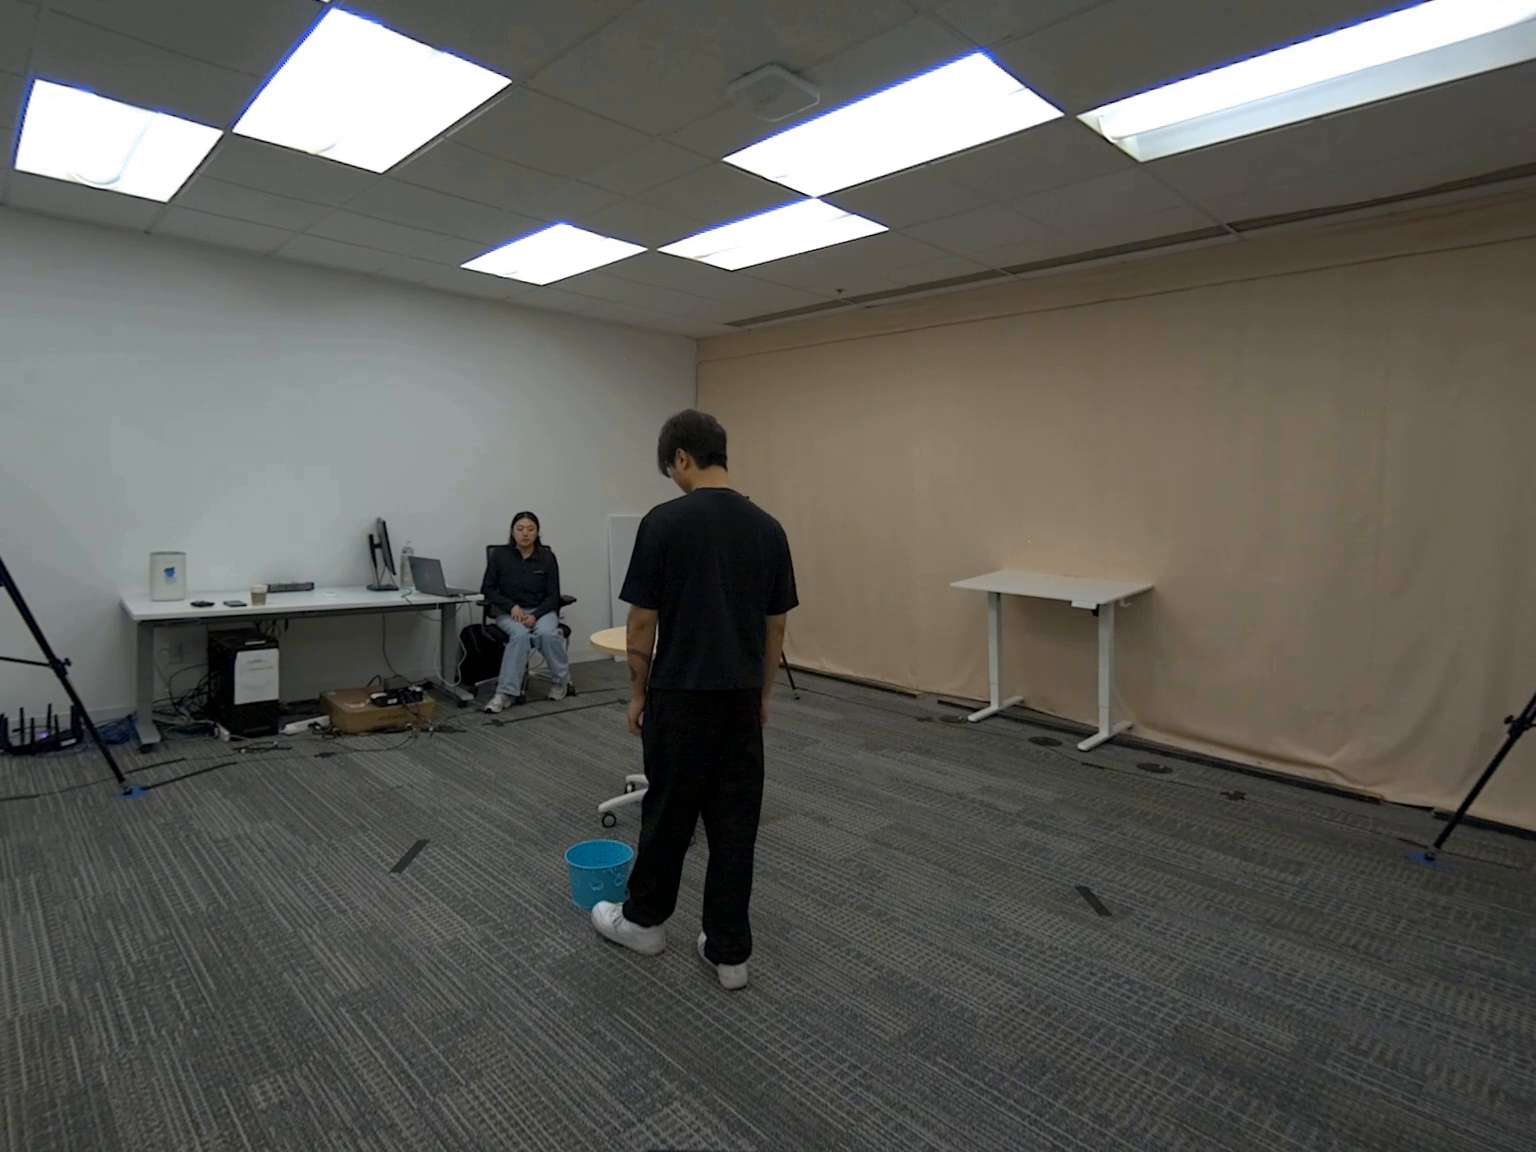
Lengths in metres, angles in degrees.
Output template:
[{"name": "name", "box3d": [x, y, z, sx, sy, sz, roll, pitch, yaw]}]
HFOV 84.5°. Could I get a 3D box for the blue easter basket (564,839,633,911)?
[{"name": "blue easter basket", "box3d": [-0.586, 1.034, 2.909, 0.243, 0.155, 0.244, 1, 5, -1]}]
